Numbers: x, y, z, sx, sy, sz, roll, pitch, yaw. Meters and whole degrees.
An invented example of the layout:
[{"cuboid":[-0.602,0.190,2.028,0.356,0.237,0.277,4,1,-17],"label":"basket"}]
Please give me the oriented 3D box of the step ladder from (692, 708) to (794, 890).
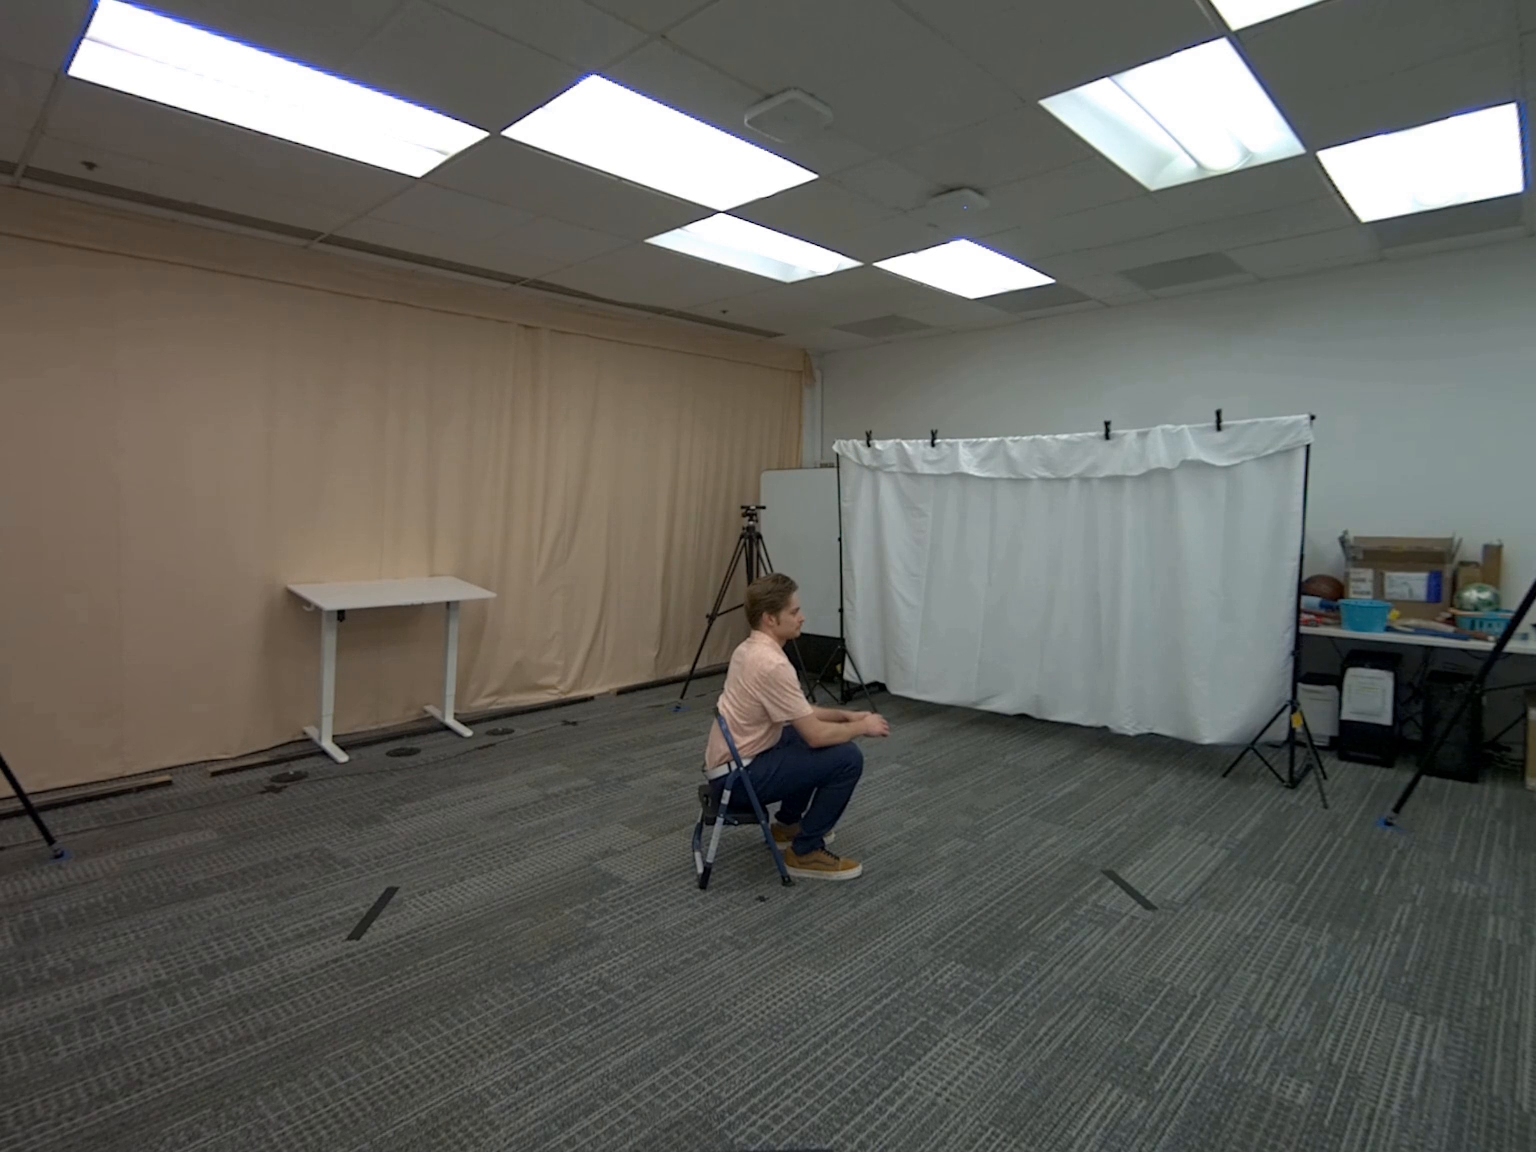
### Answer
[{"cuboid":[-0.114,0.827,3.259,0.346,0.605,0.435,-1,4,-8],"label":"step ladder"}]
